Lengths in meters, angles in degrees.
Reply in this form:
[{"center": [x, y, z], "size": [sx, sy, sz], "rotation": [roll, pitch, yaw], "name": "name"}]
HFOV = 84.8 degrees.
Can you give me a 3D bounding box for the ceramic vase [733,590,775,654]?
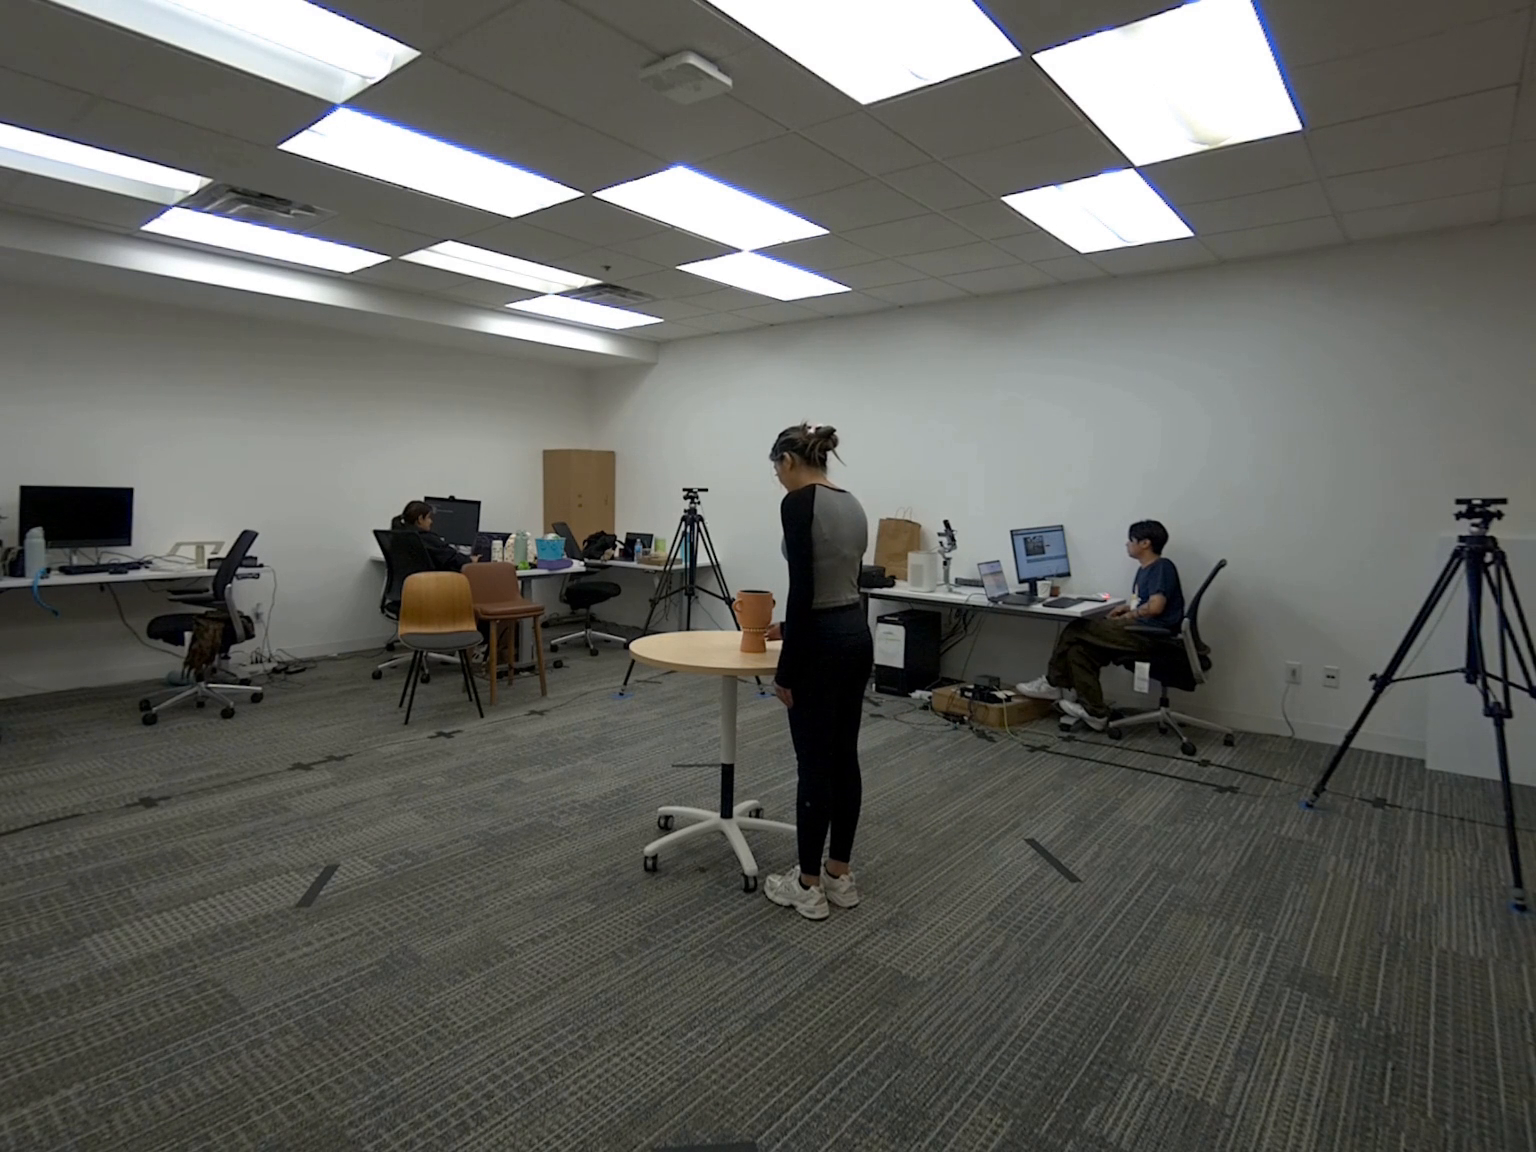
[{"center": [-0.059, 0.165, 3.160], "size": [0.159, 0.219, 0.134], "rotation": [2, 3, 3], "name": "ceramic vase"}]
